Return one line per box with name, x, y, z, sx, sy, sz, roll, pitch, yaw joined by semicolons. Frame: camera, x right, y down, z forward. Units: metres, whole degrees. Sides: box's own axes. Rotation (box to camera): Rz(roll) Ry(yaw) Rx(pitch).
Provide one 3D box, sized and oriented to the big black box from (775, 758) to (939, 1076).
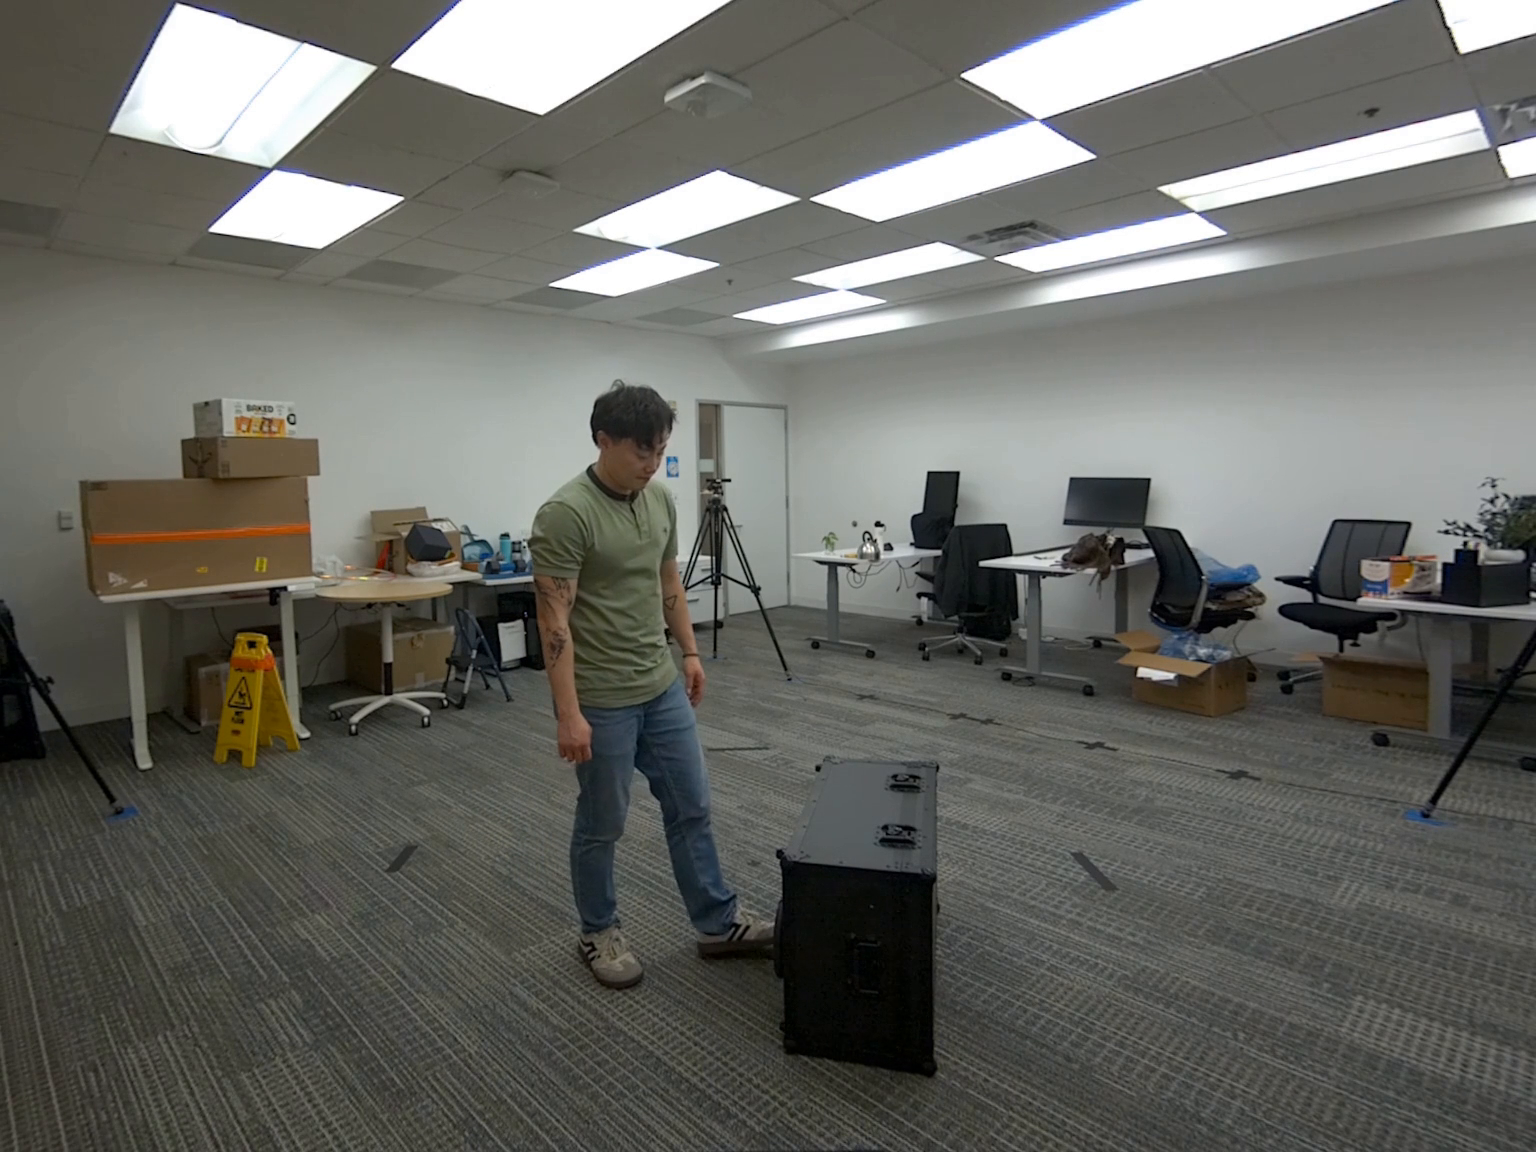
big black box;0.275;0.873;2.370;0.401;0.519;0.854;0;5;12
